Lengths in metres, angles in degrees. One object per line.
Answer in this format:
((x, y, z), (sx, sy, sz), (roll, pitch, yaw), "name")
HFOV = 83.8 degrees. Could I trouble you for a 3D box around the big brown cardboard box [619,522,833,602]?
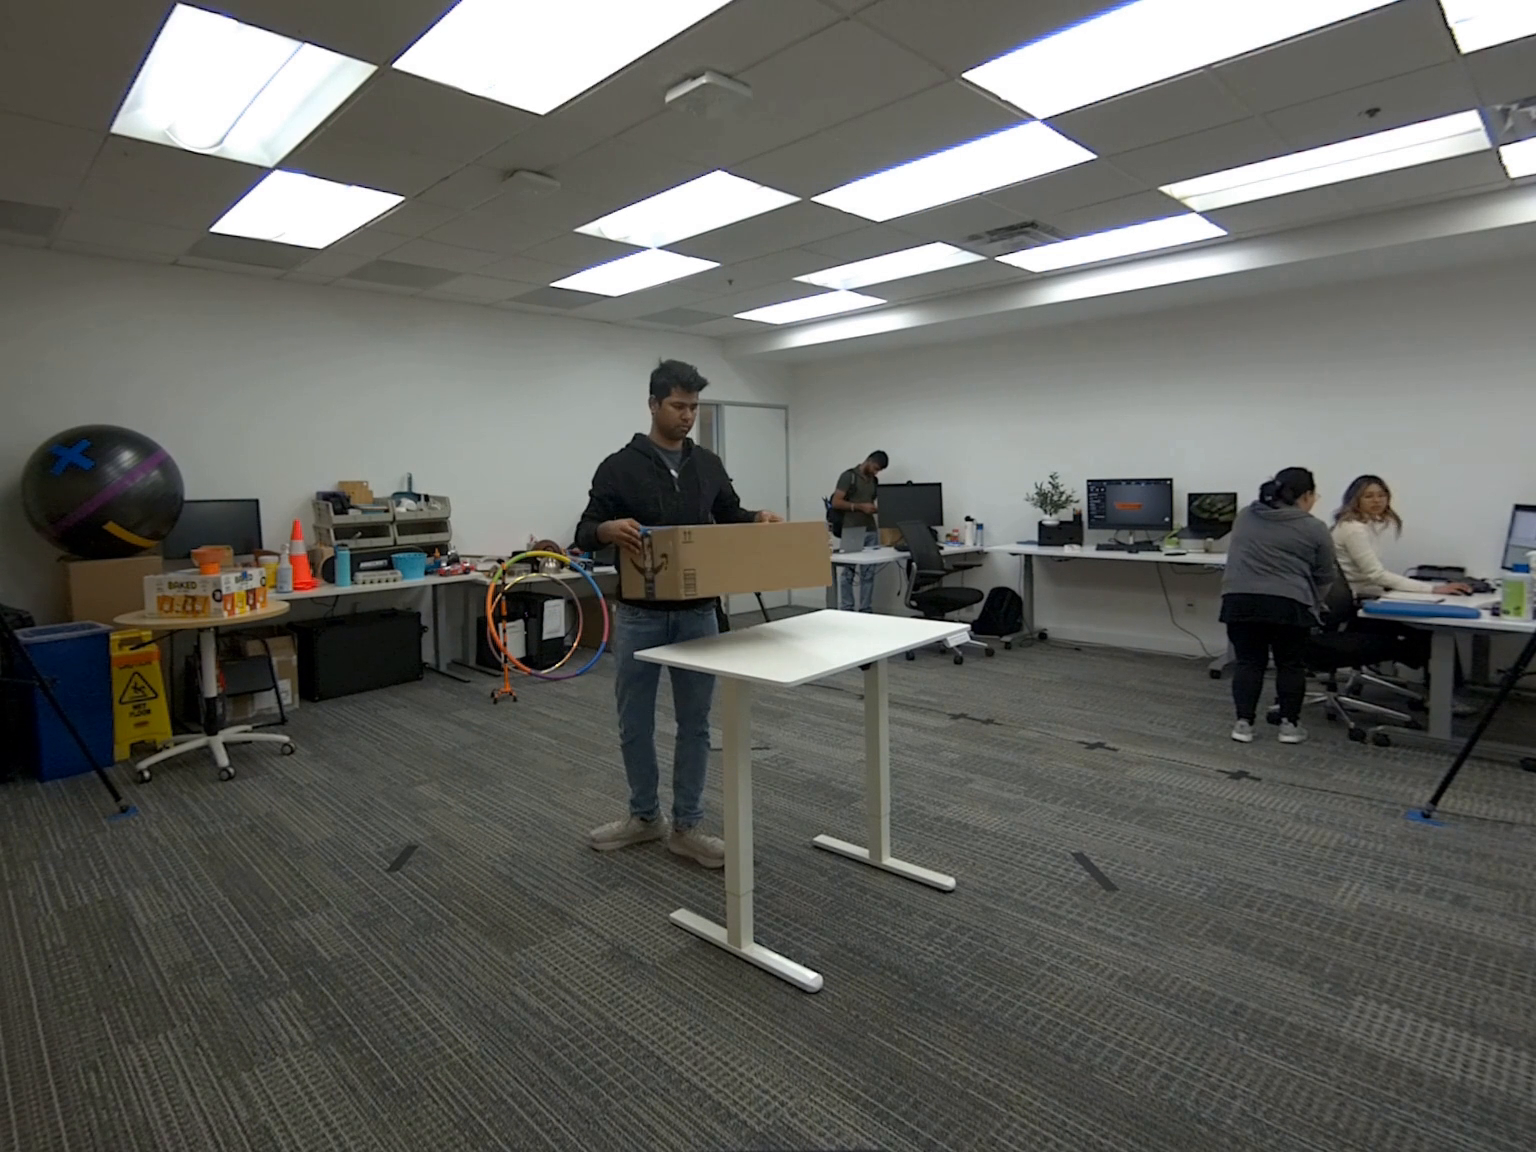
((-0.155, -0.052, 2.804), (0.574, 0.233, 0.428), (-3, 1, -32), "big brown cardboard box")
